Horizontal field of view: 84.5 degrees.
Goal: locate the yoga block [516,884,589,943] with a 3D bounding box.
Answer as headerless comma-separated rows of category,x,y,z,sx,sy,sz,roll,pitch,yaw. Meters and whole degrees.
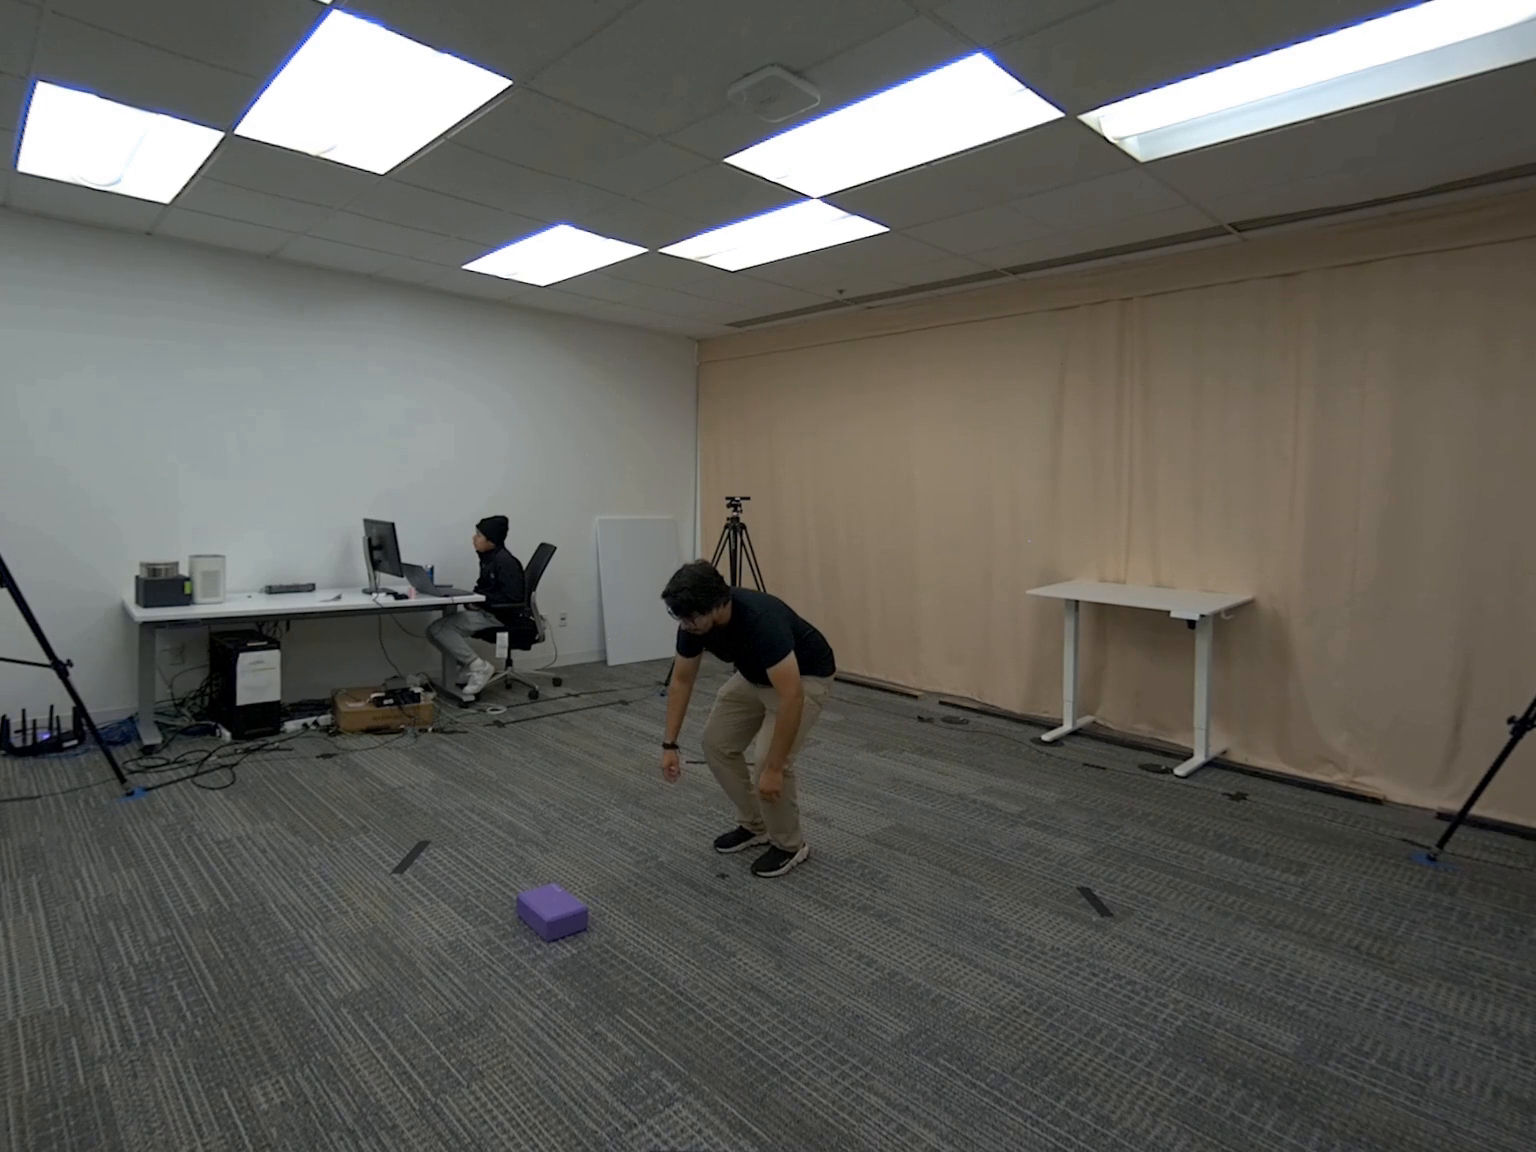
yoga block,-0.710,1.091,2.733,0.146,0.076,0.235,-4,7,-40
